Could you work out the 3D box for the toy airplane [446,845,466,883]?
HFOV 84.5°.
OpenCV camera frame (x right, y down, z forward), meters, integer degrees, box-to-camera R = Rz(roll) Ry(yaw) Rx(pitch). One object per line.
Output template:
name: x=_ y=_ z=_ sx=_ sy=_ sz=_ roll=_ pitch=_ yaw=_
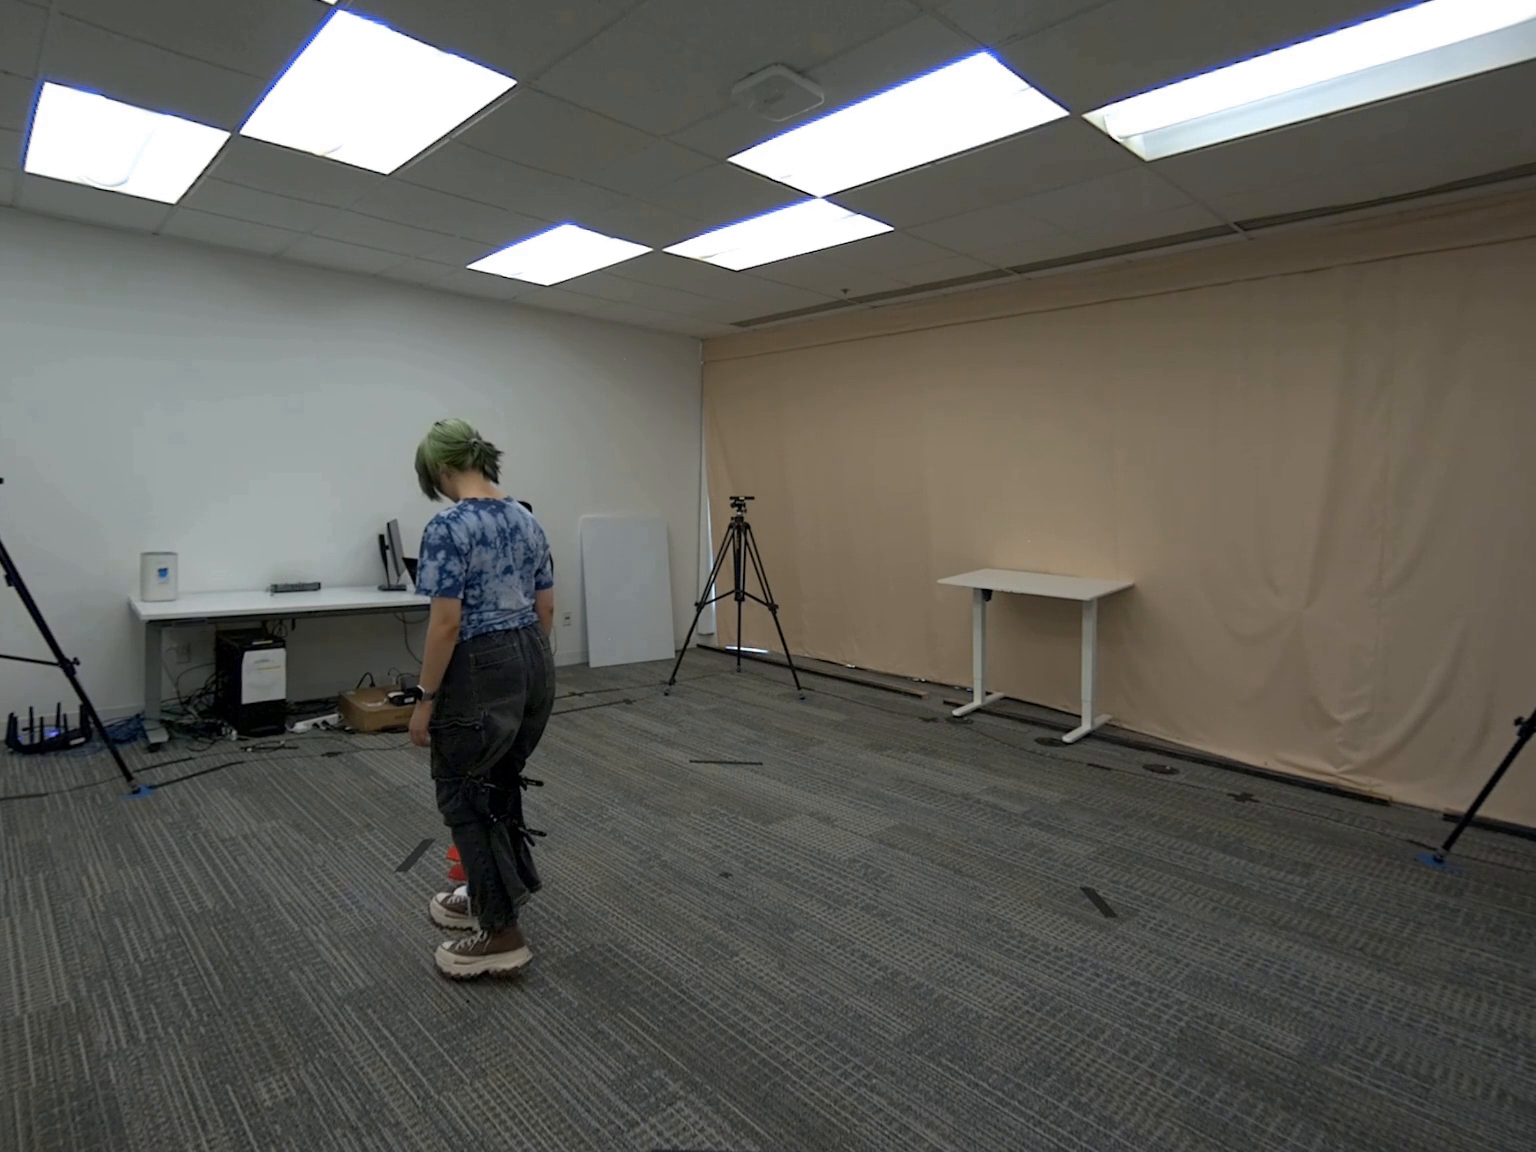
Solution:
toy airplane: x=-0.985 y=1.036 z=2.901 sx=0.246 sy=0.156 sz=0.264 roll=1 pitch=2 yaw=-25
